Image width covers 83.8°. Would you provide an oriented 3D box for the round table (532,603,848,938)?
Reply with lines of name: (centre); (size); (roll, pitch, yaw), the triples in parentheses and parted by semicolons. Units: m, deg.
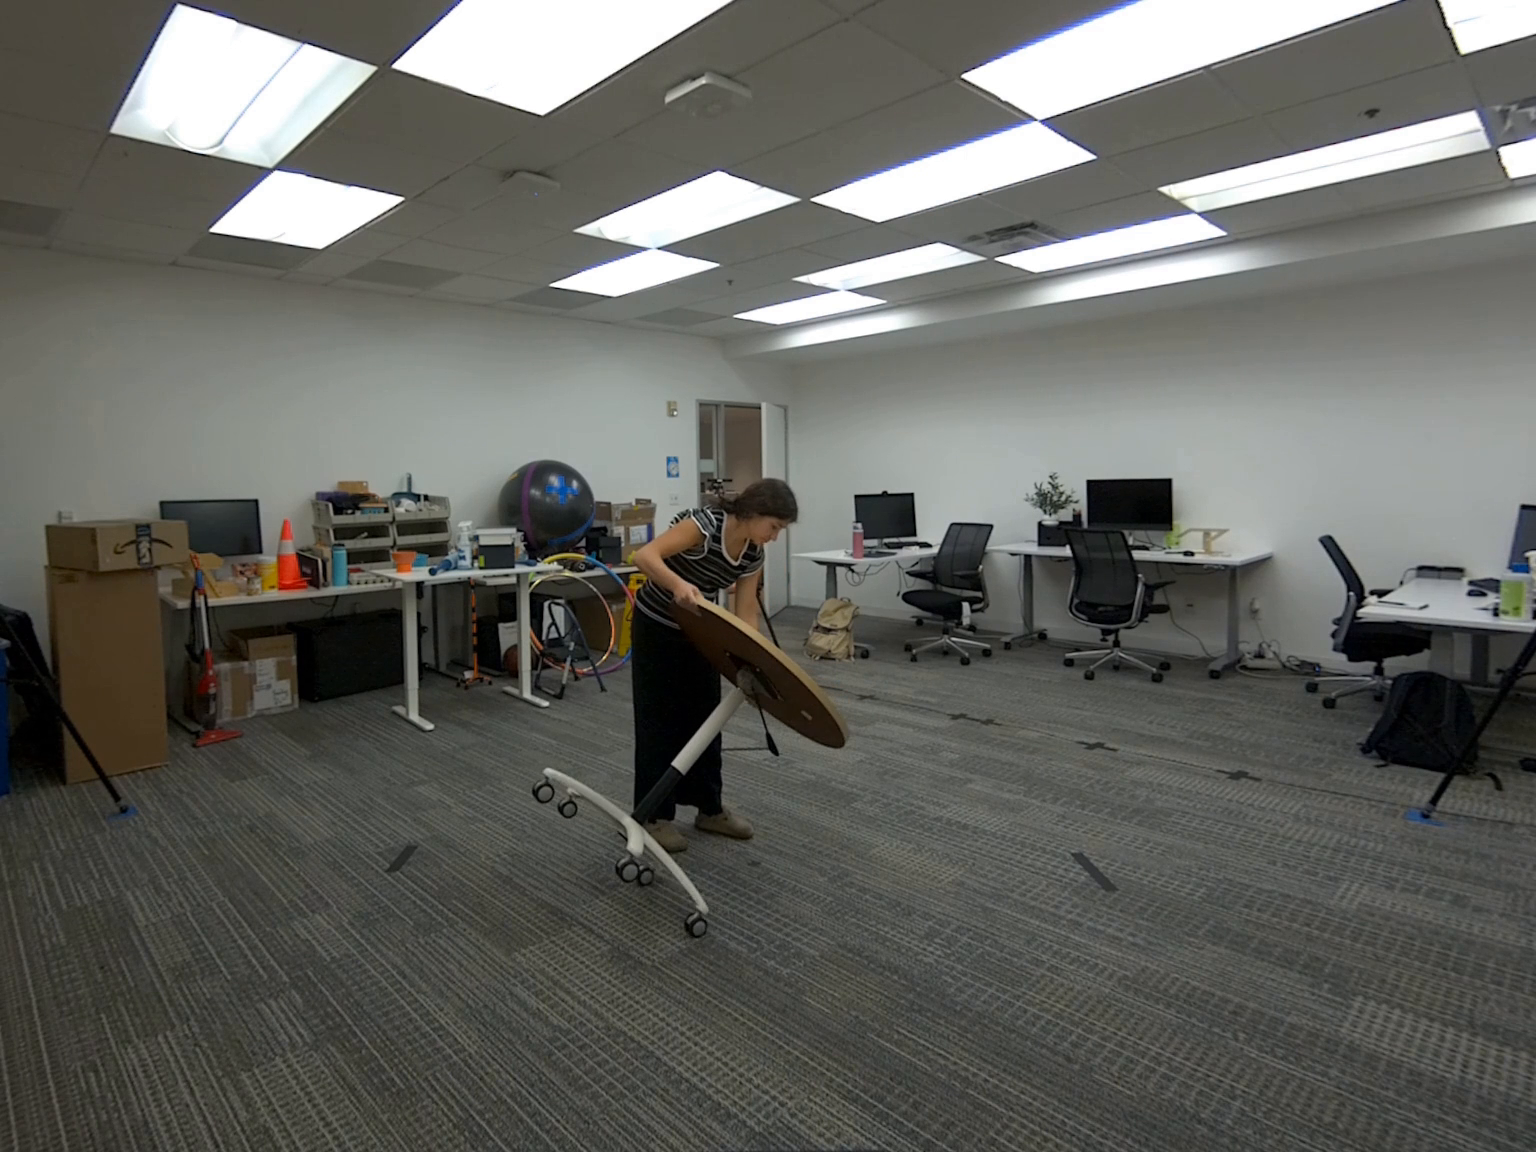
round table: (-0.271, 0.606, 2.827); (0.795, 0.743, 0.785); (-50, 25, -18)
